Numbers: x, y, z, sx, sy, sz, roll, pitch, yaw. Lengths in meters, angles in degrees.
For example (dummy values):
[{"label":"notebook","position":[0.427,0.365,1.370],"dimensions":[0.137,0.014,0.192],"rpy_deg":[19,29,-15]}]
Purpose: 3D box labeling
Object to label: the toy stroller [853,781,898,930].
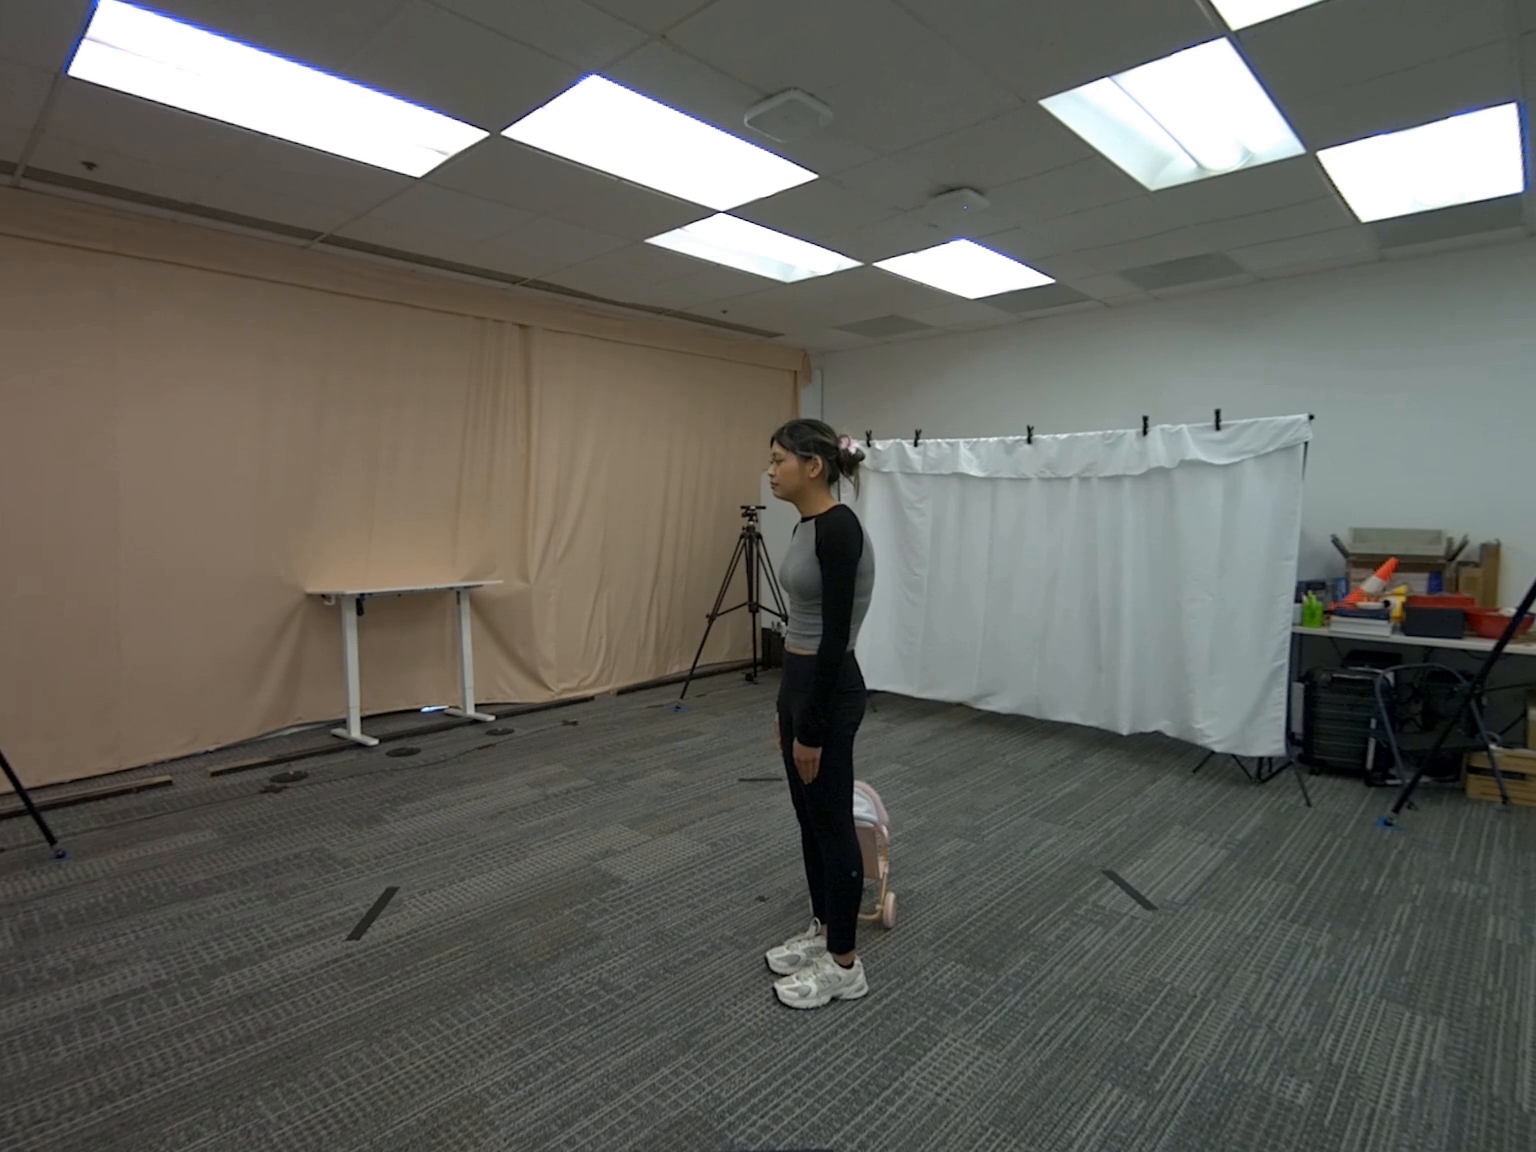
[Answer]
[{"label":"toy stroller","position":[0.302,0.928,2.869],"dimensions":[0.288,0.528,0.338],"rpy_deg":[1,20,20]}]
